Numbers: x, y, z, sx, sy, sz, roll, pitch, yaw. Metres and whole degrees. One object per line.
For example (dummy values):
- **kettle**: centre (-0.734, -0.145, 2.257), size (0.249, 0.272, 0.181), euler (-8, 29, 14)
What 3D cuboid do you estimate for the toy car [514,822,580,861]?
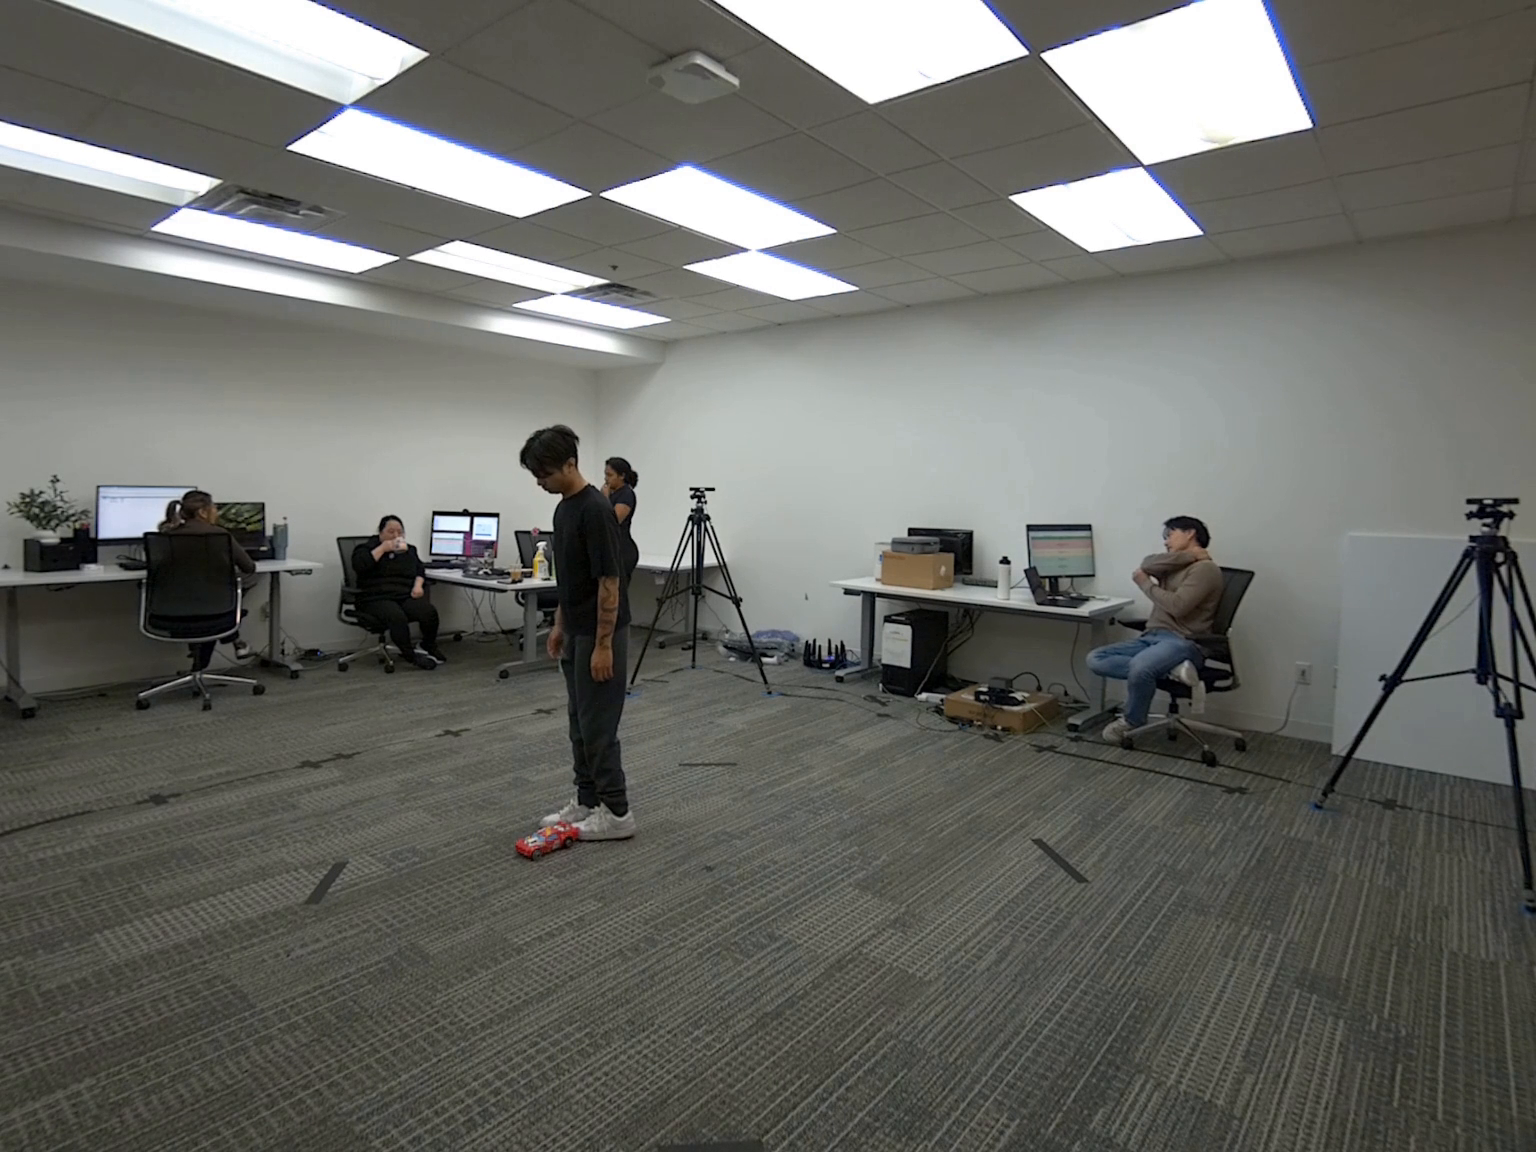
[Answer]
- **toy car**: centre (-0.855, 1.008, 3.254), size (0.135, 0.082, 0.249), euler (5, 18, 41)
